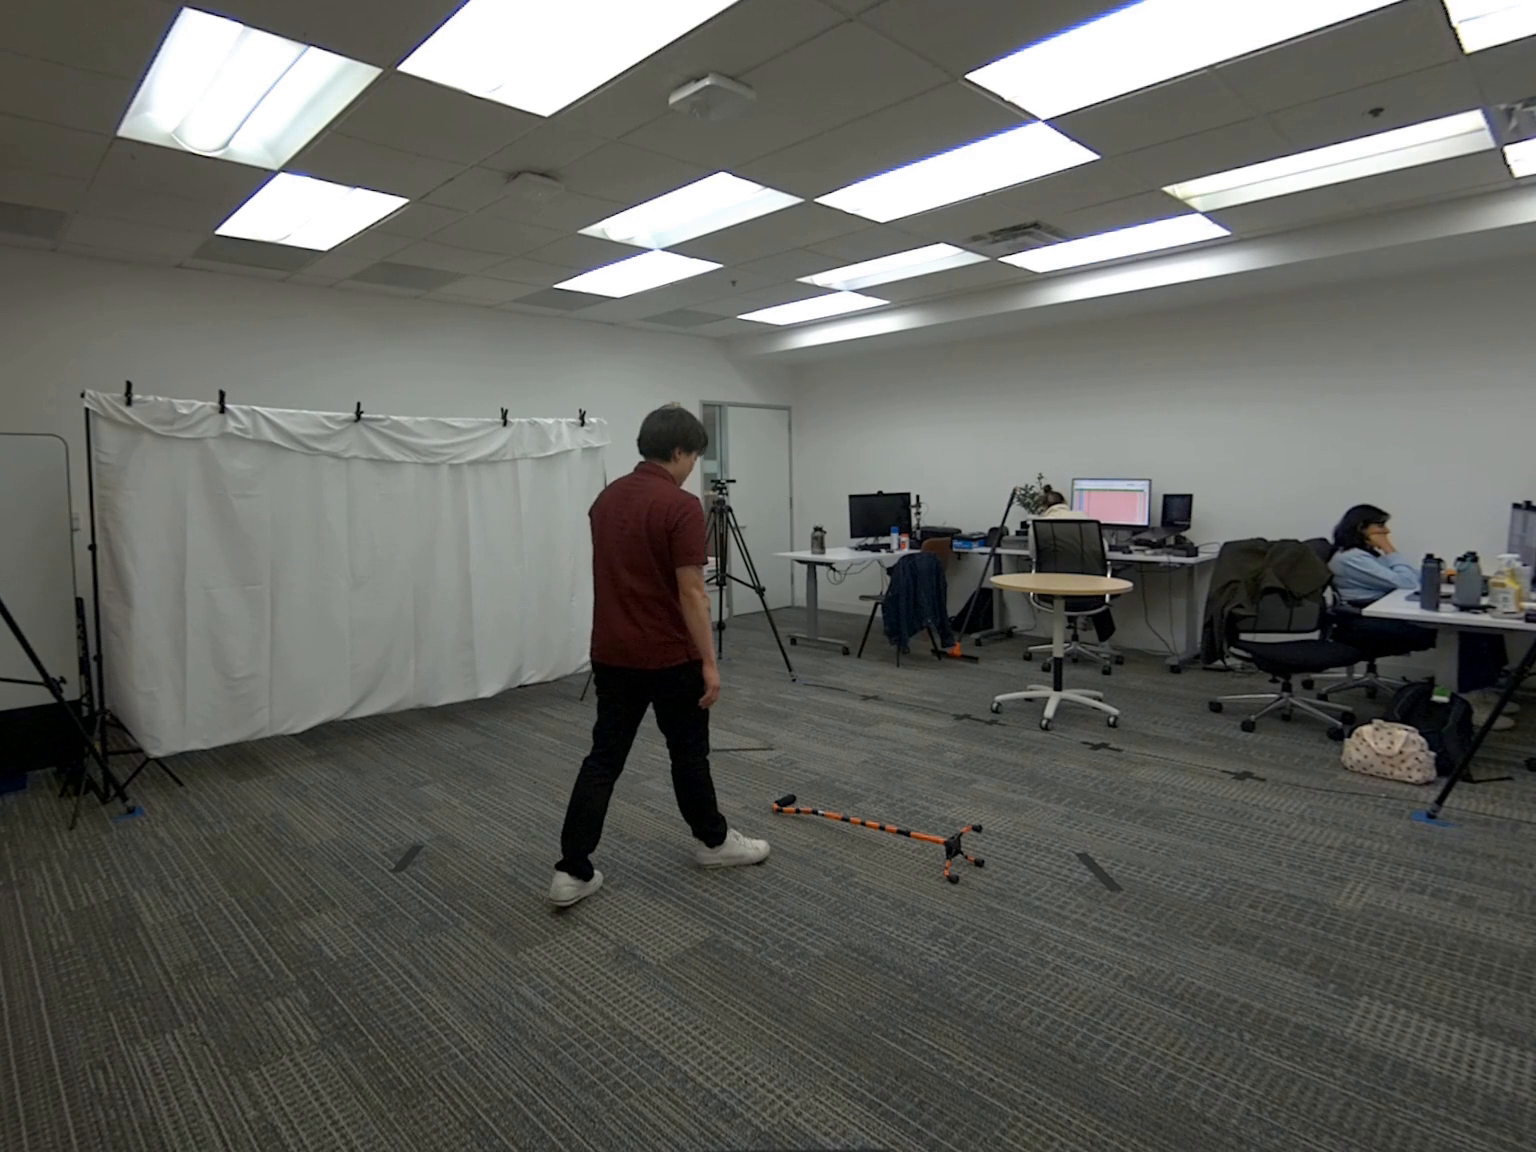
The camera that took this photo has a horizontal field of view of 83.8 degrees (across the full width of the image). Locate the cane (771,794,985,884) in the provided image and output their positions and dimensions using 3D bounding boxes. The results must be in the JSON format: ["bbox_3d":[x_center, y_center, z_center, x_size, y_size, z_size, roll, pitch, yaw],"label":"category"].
[{"bbox_3d":[0.370,0.970,3.314,0.201,0.151,0.933,-6,3,-45],"label":"cane"}]
